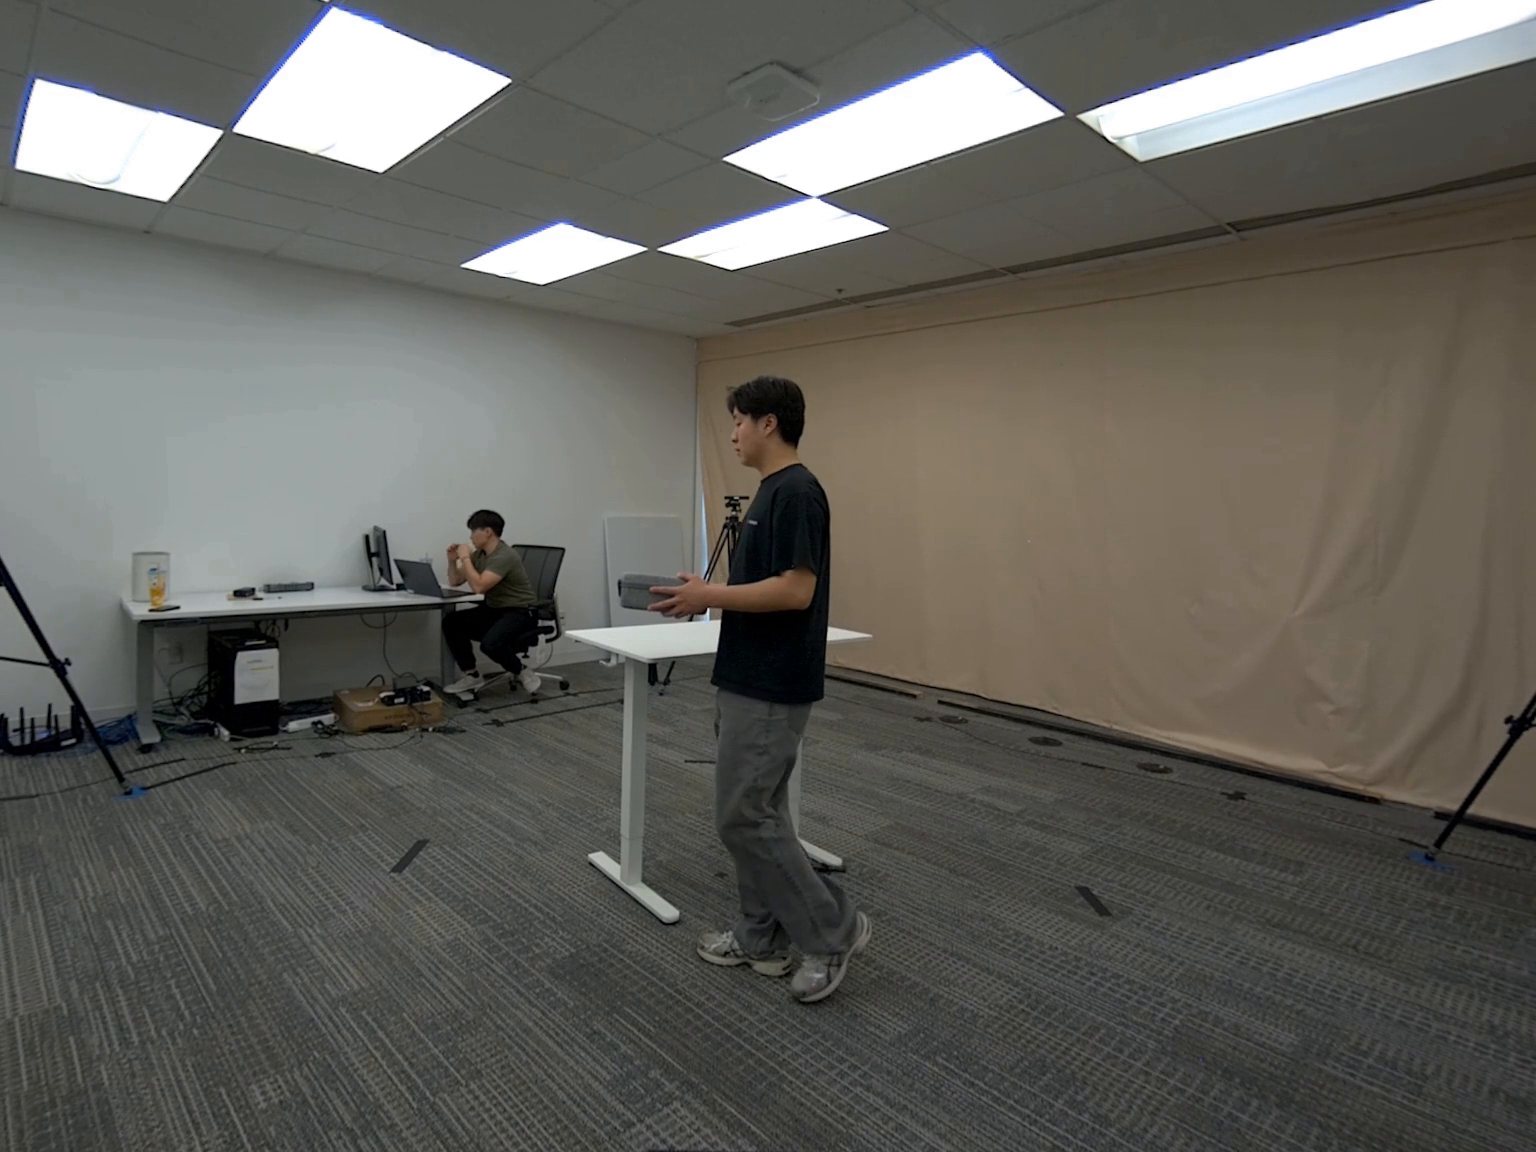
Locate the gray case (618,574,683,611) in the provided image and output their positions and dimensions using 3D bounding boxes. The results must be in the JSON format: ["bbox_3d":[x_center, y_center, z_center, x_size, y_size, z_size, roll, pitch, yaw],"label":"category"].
[{"bbox_3d":[-0.286,0.056,2.439,0.266,0.103,0.283,3,-1,13],"label":"gray case"}]
